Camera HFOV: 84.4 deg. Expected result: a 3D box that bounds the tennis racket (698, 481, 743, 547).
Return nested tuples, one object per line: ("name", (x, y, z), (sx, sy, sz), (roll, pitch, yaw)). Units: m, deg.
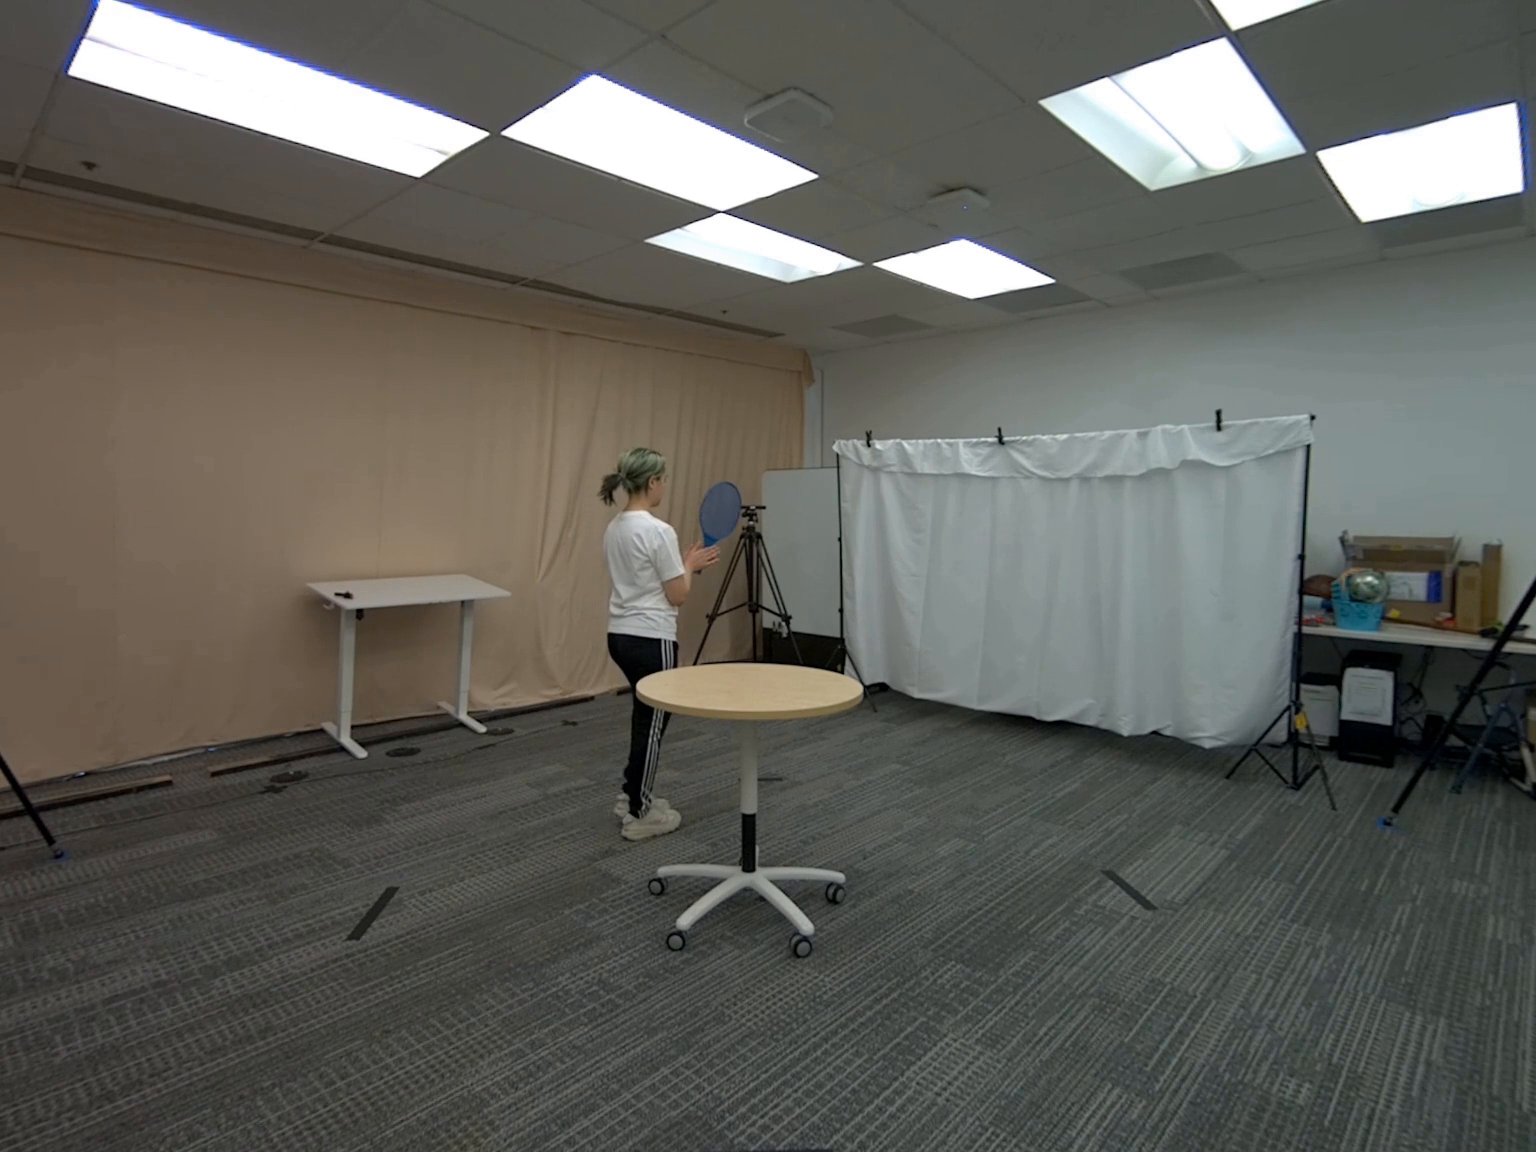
("tennis racket", (-0.239, -0.214, 3.719), (0.207, 0.433, 0.033), (29, -10, -30))
